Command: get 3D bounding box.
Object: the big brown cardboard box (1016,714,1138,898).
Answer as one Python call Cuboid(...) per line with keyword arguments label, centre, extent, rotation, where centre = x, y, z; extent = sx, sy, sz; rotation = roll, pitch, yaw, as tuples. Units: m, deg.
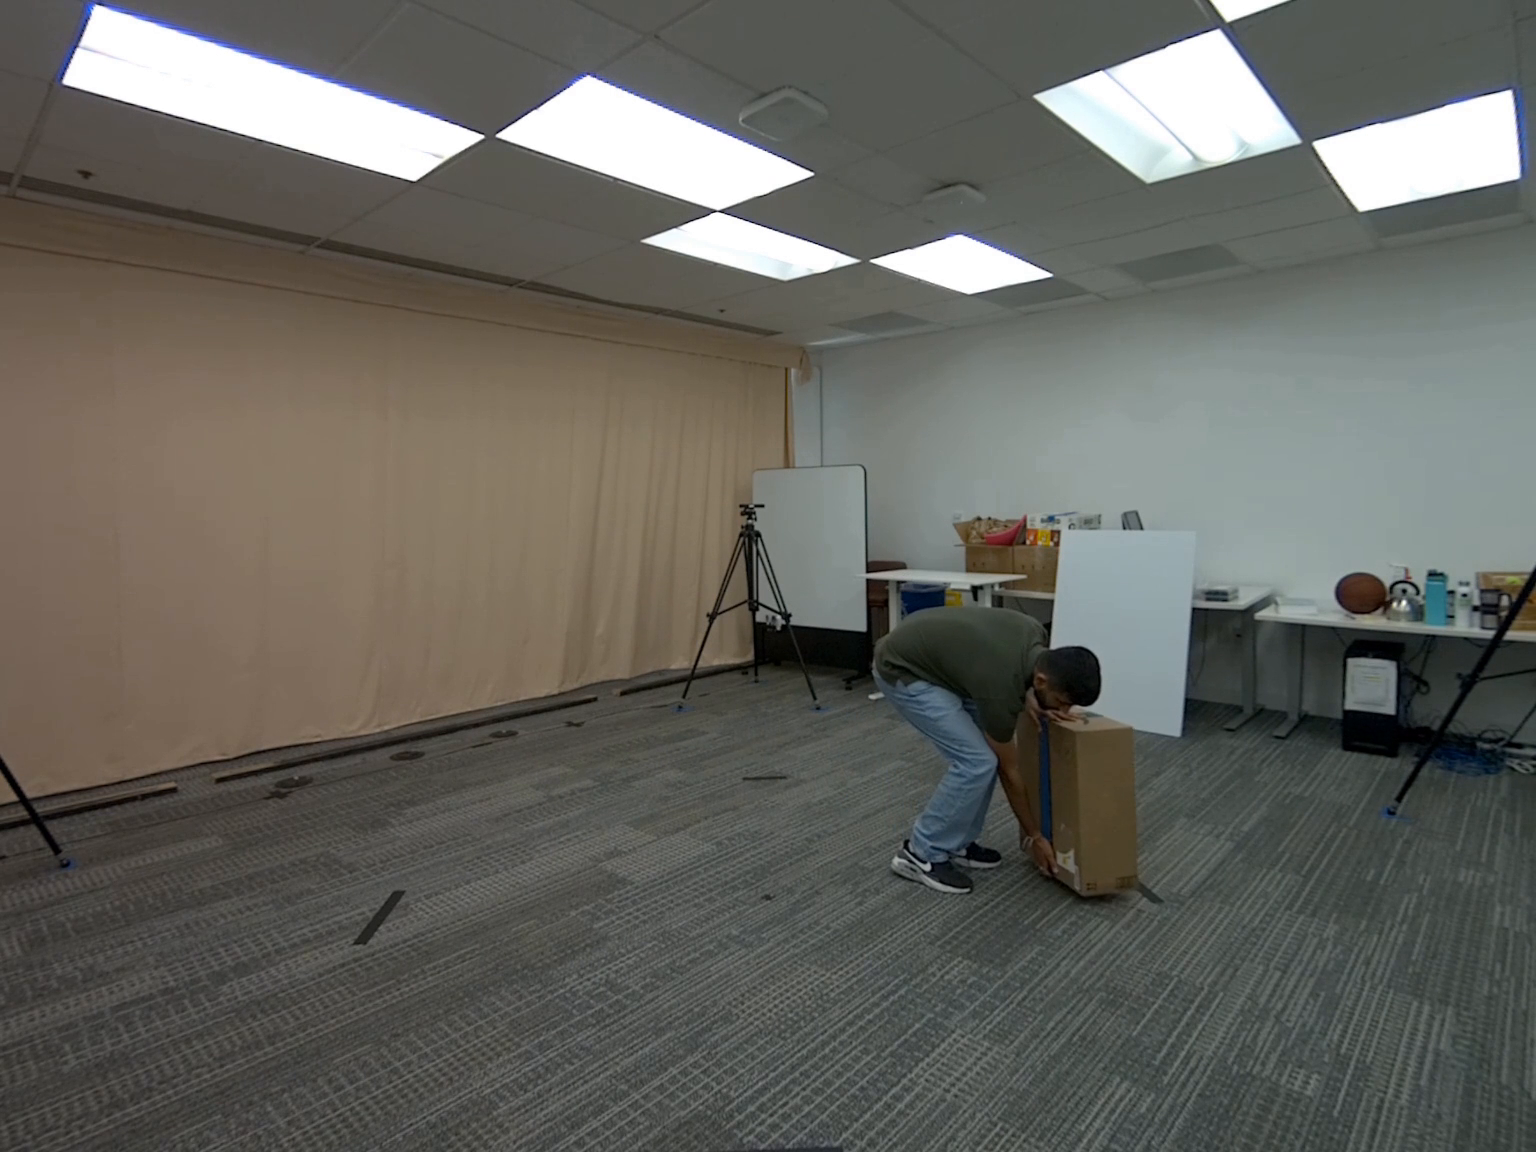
Cuboid(label="big brown cardboard box", centre=(1.120, 0.795, 3.074), extent=(0.231, 0.588, 0.422), rotation=(-1, 1, -10))
